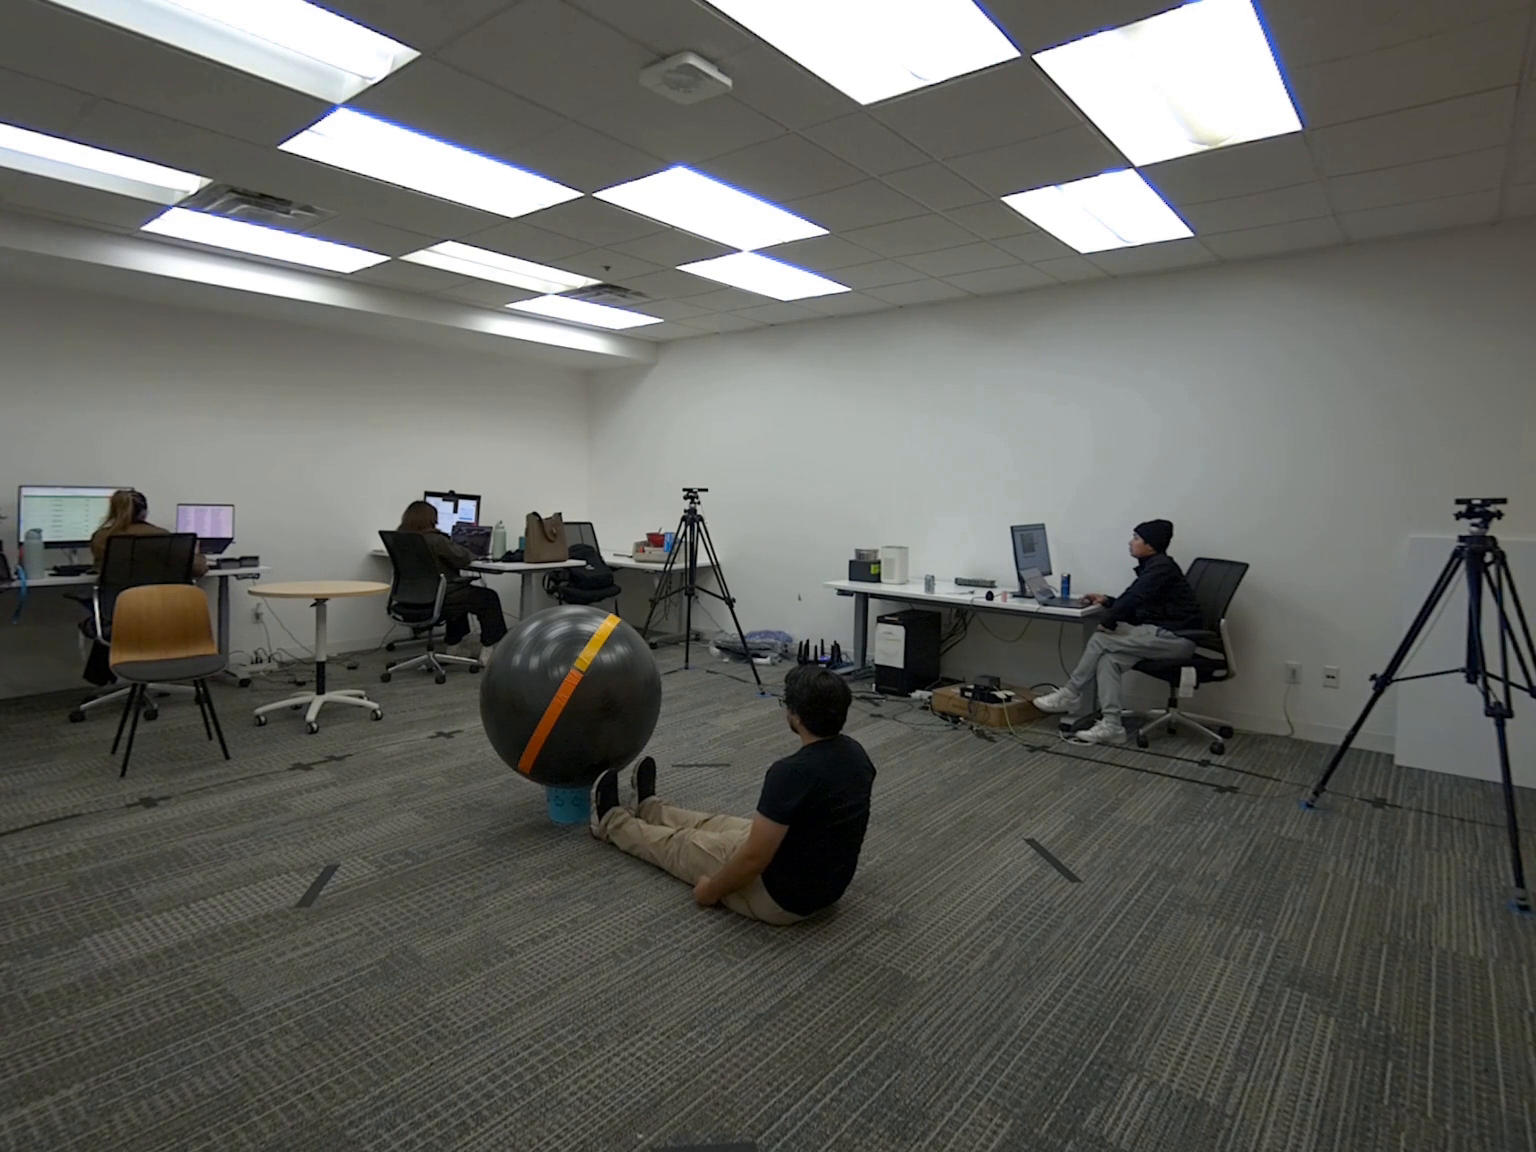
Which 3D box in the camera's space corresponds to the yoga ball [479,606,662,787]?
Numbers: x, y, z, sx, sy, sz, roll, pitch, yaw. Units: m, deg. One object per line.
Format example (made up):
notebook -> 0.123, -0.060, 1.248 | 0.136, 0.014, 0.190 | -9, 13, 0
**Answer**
yoga ball -> -0.843, 0.507, 3.594 | 0.757, 0.755, 0.762 | 1, 4, -2
